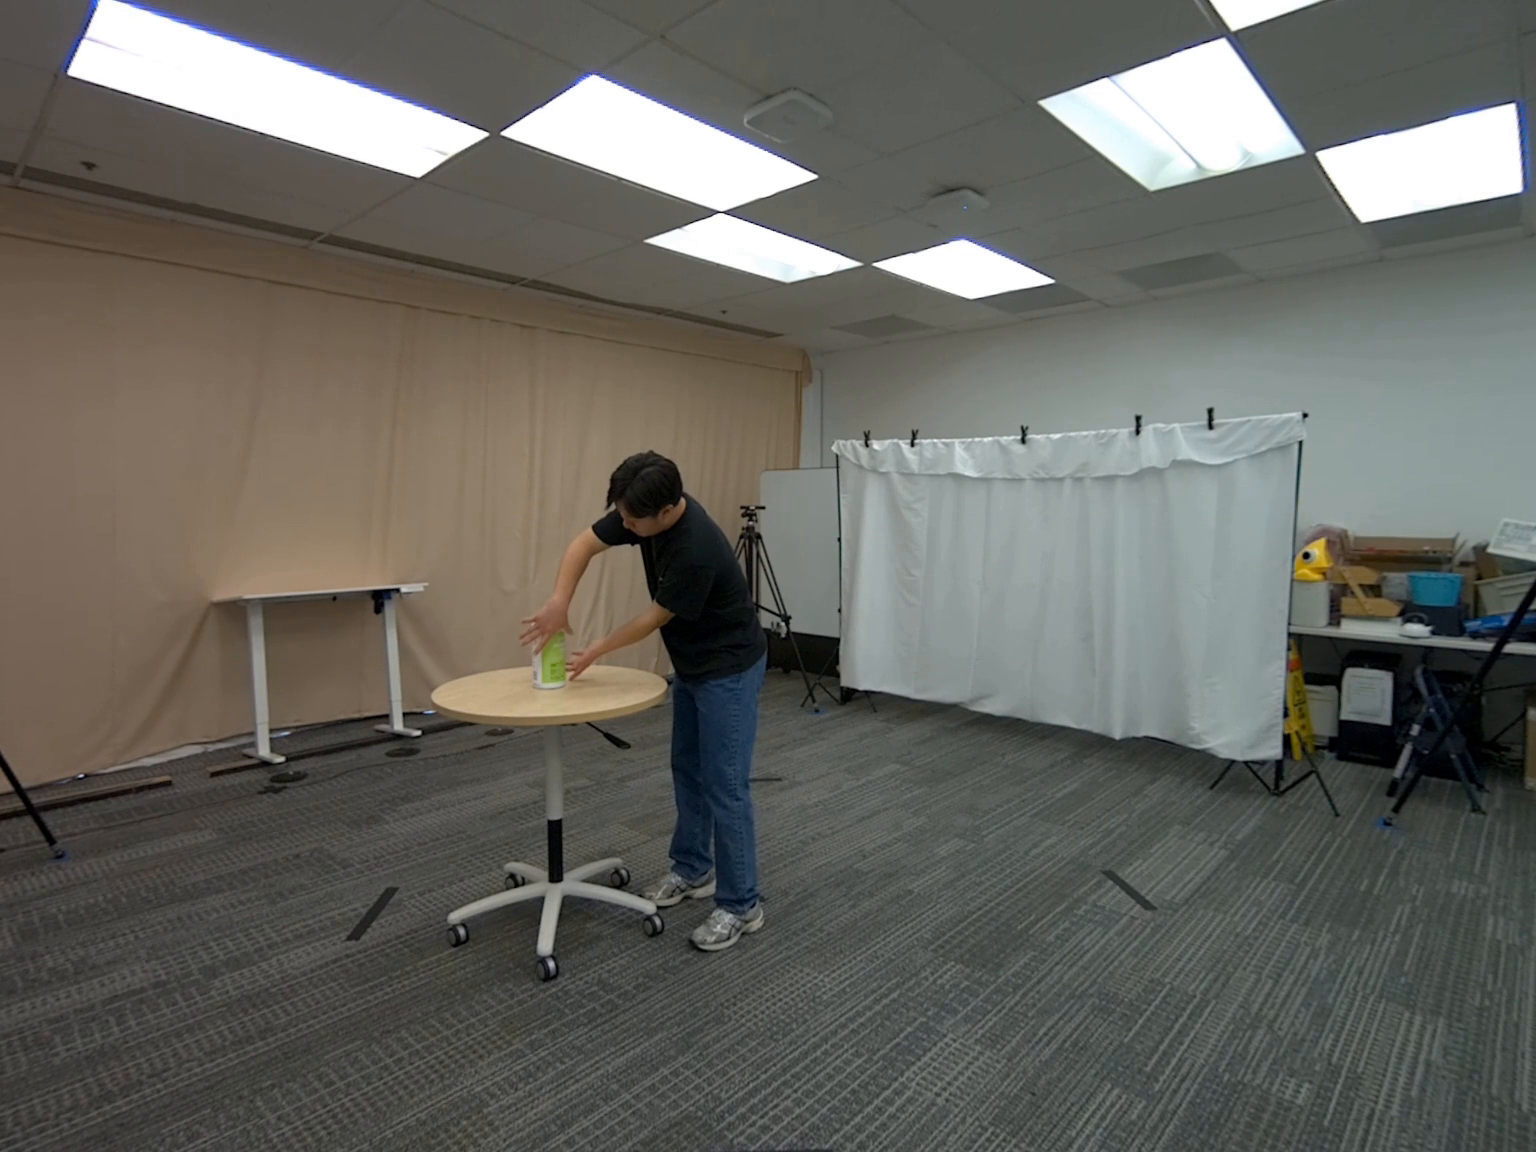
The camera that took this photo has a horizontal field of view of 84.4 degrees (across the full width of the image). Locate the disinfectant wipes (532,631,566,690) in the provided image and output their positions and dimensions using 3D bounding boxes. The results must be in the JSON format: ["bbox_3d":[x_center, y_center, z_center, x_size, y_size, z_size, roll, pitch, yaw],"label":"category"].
[{"bbox_3d":[-0.732,0.264,2.812,0.118,0.217,0.118,0,2,-2],"label":"disinfectant wipes"}]
